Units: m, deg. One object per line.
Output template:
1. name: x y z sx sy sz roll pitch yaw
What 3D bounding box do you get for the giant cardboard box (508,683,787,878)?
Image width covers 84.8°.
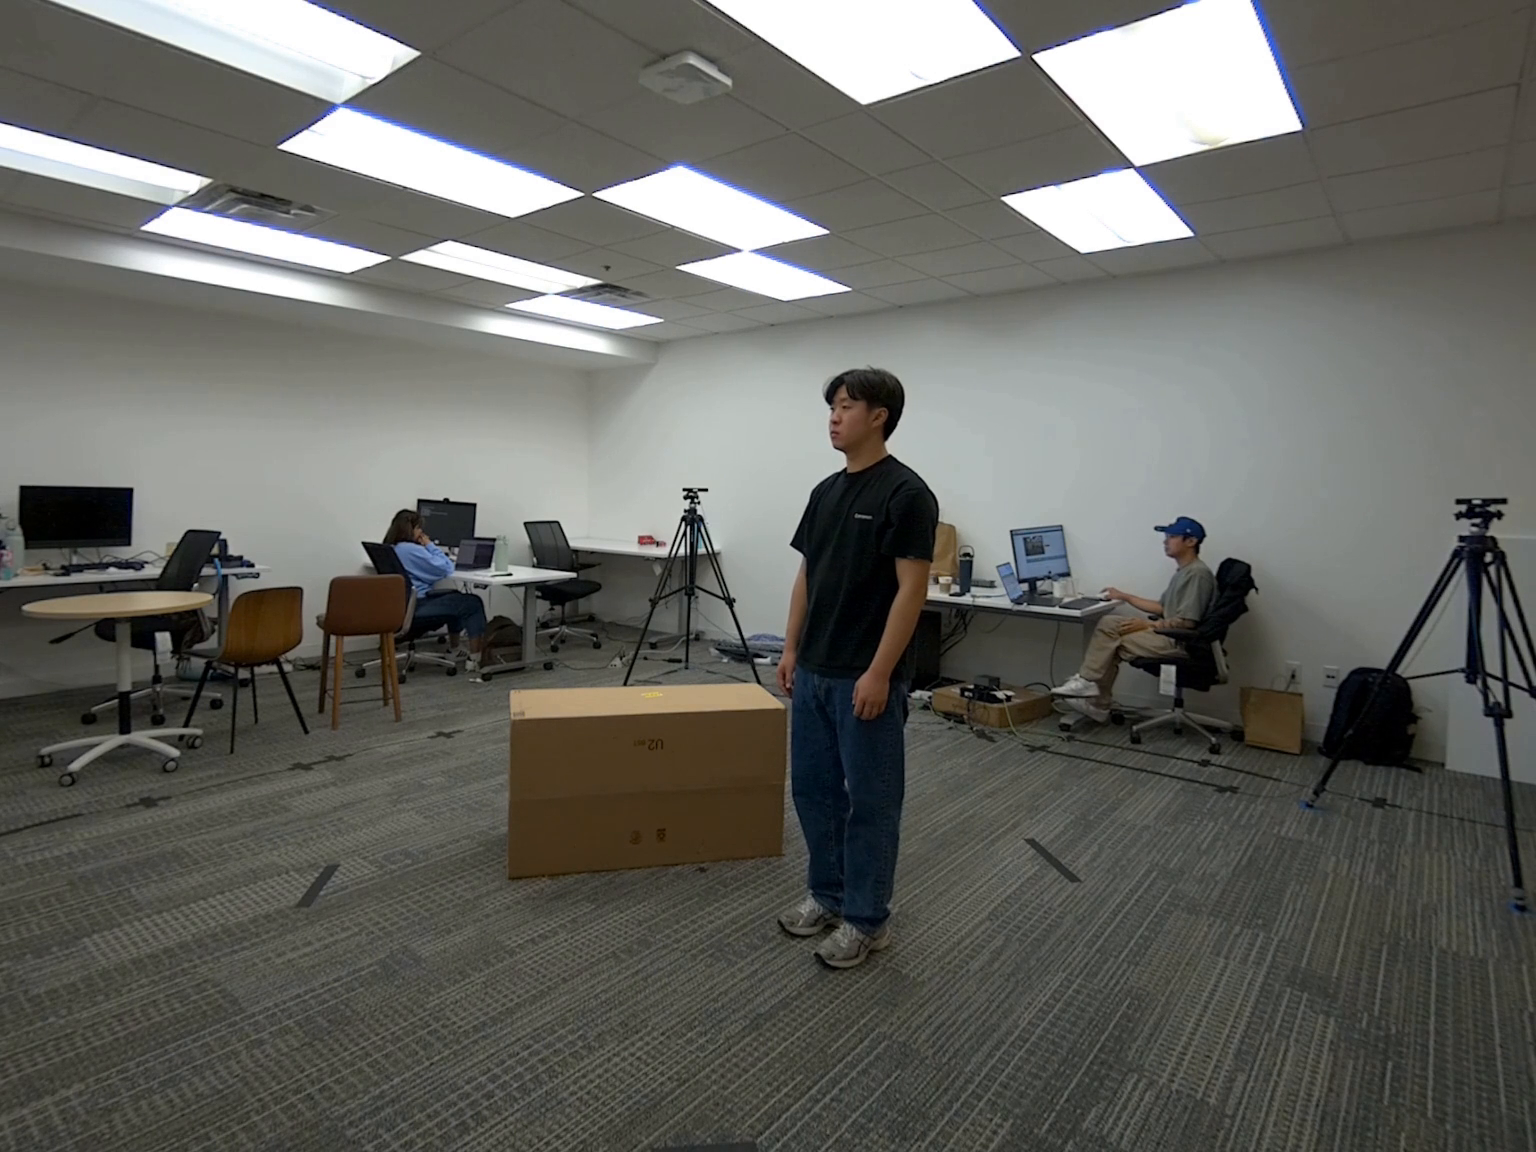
1. giant cardboard box: -0.494 0.758 3.307 1.011 0.583 0.455 0 3 -15
